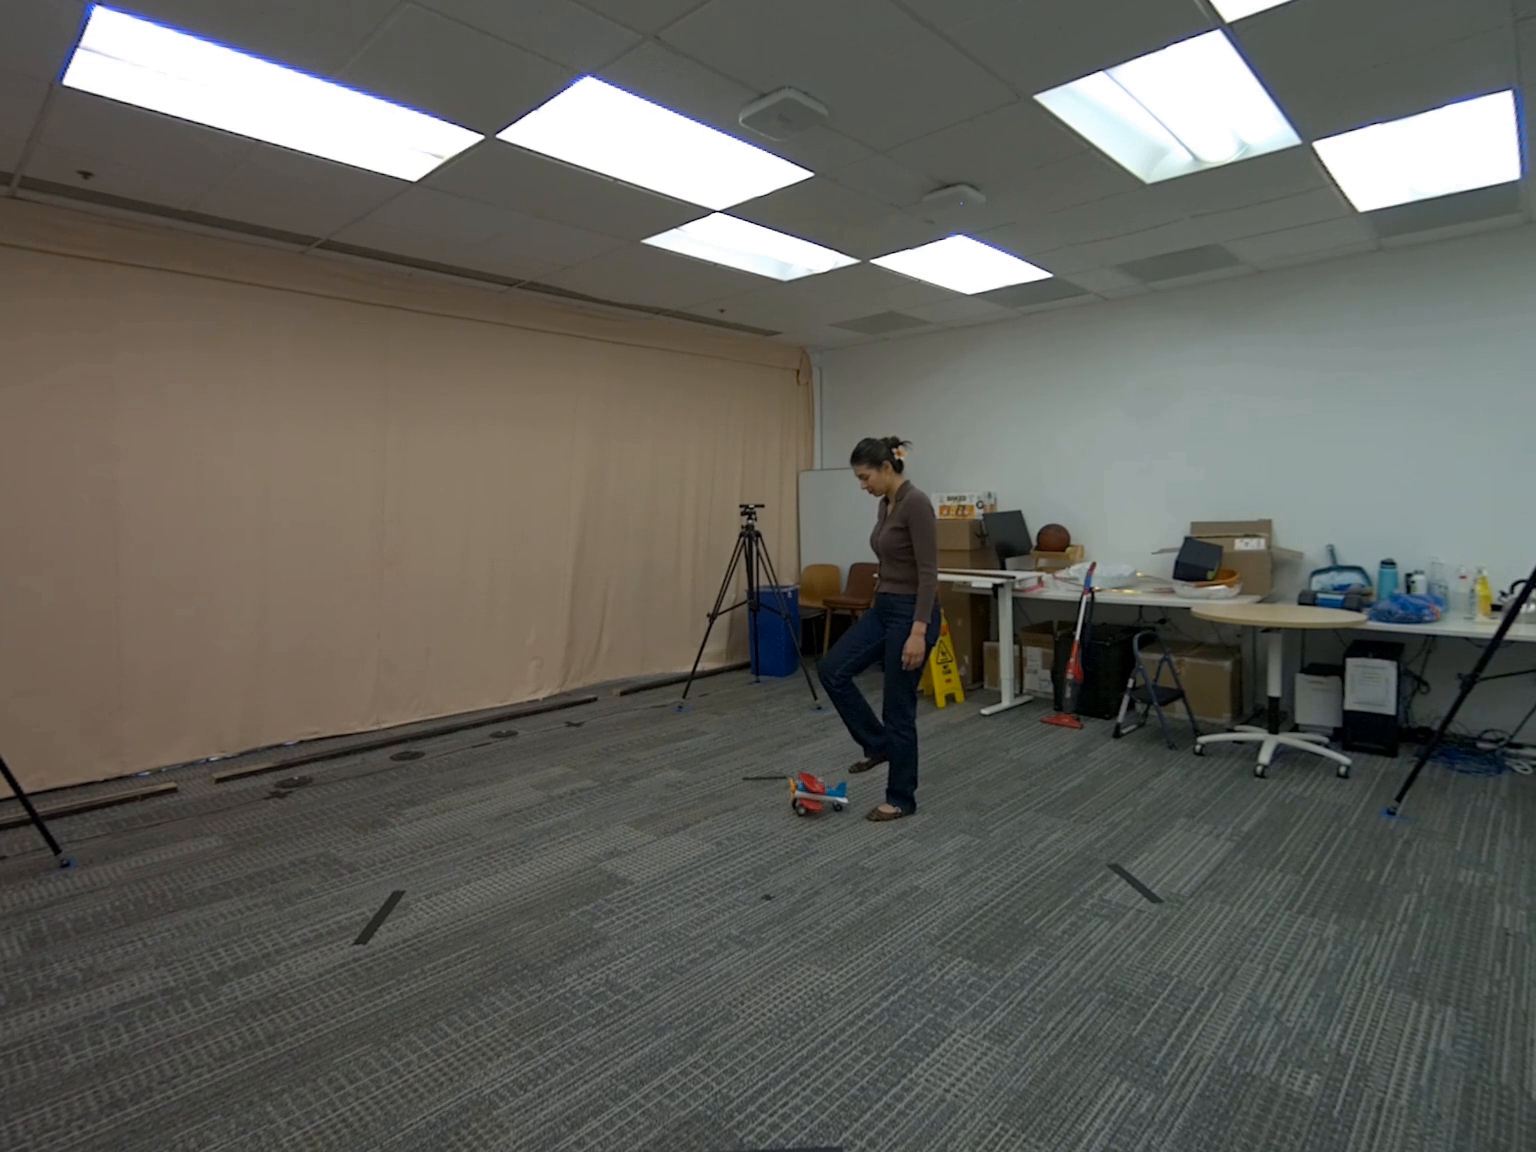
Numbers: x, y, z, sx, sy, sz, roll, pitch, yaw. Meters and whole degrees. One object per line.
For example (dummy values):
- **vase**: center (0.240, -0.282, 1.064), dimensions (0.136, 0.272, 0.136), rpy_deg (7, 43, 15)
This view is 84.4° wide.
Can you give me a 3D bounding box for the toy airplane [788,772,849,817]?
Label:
- **toy airplane**: center (0.225, 0.992, 3.830), dimensions (0.251, 0.156, 0.259), rpy_deg (-4, 5, -40)
